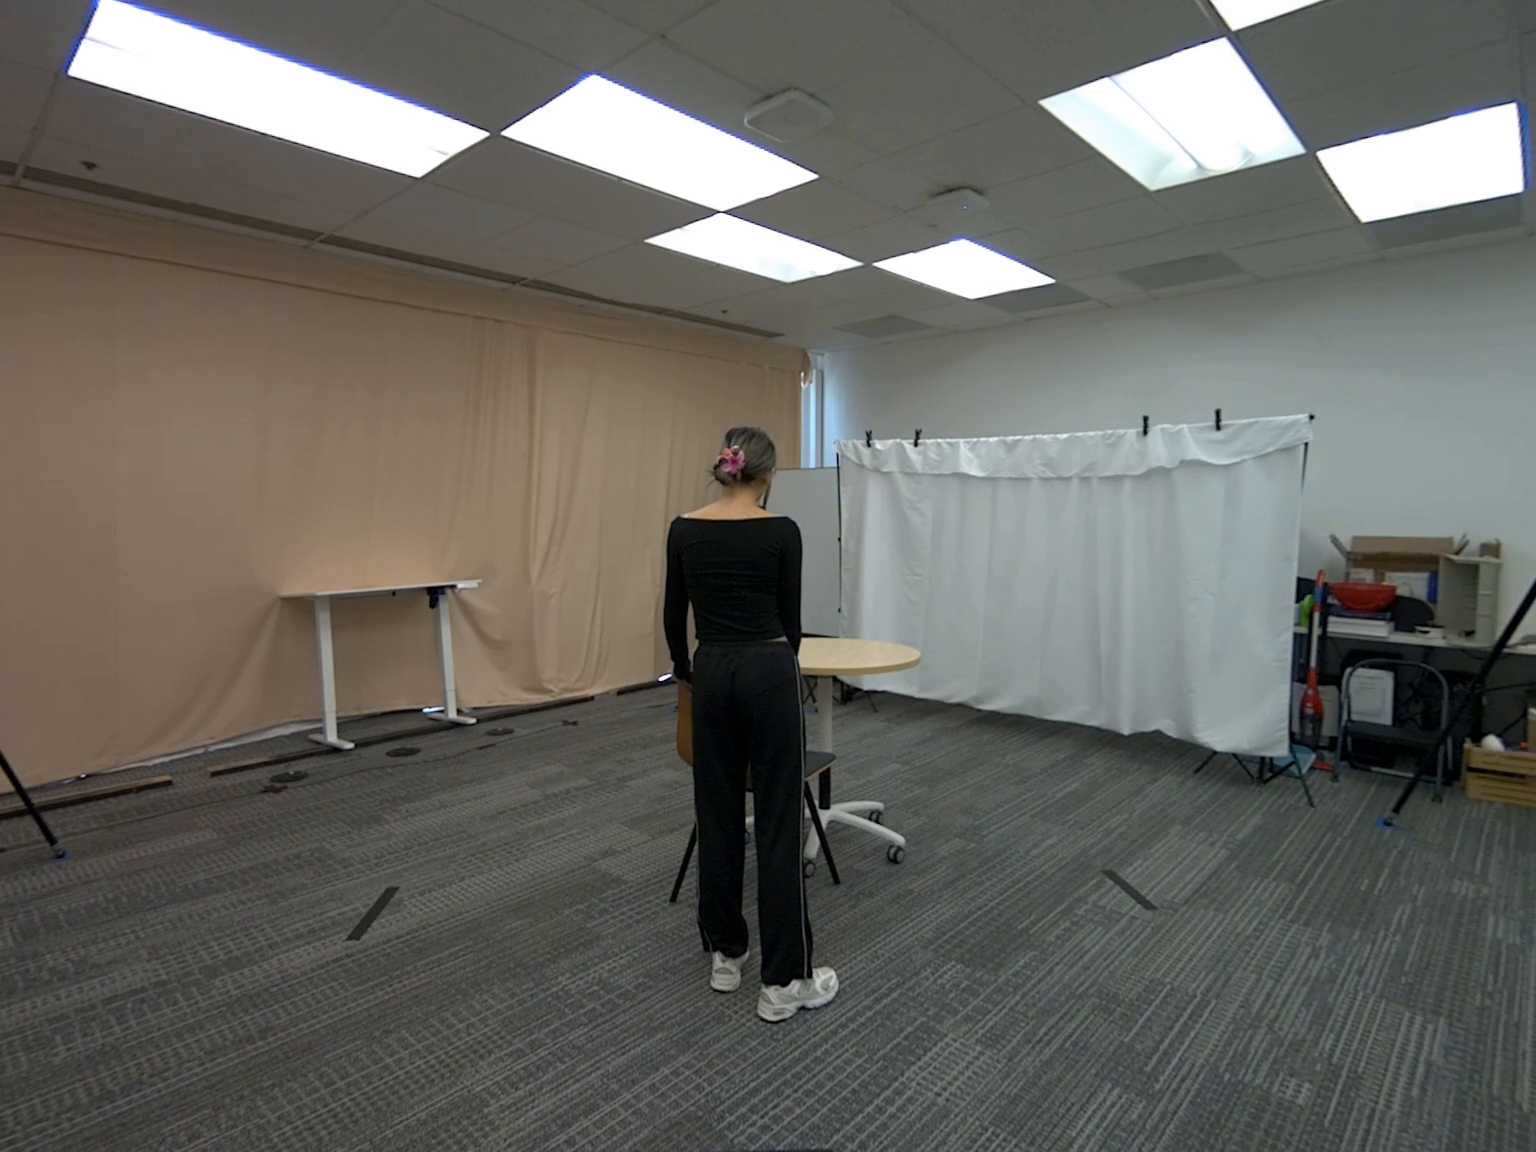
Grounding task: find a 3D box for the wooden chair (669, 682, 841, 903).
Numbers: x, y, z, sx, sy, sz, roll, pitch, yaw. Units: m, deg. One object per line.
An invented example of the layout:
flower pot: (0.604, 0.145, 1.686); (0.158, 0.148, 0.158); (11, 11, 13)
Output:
wooden chair: (-0.035, 0.712, 3.005); (0.492, 0.873, 0.510); (1, 8, 32)
